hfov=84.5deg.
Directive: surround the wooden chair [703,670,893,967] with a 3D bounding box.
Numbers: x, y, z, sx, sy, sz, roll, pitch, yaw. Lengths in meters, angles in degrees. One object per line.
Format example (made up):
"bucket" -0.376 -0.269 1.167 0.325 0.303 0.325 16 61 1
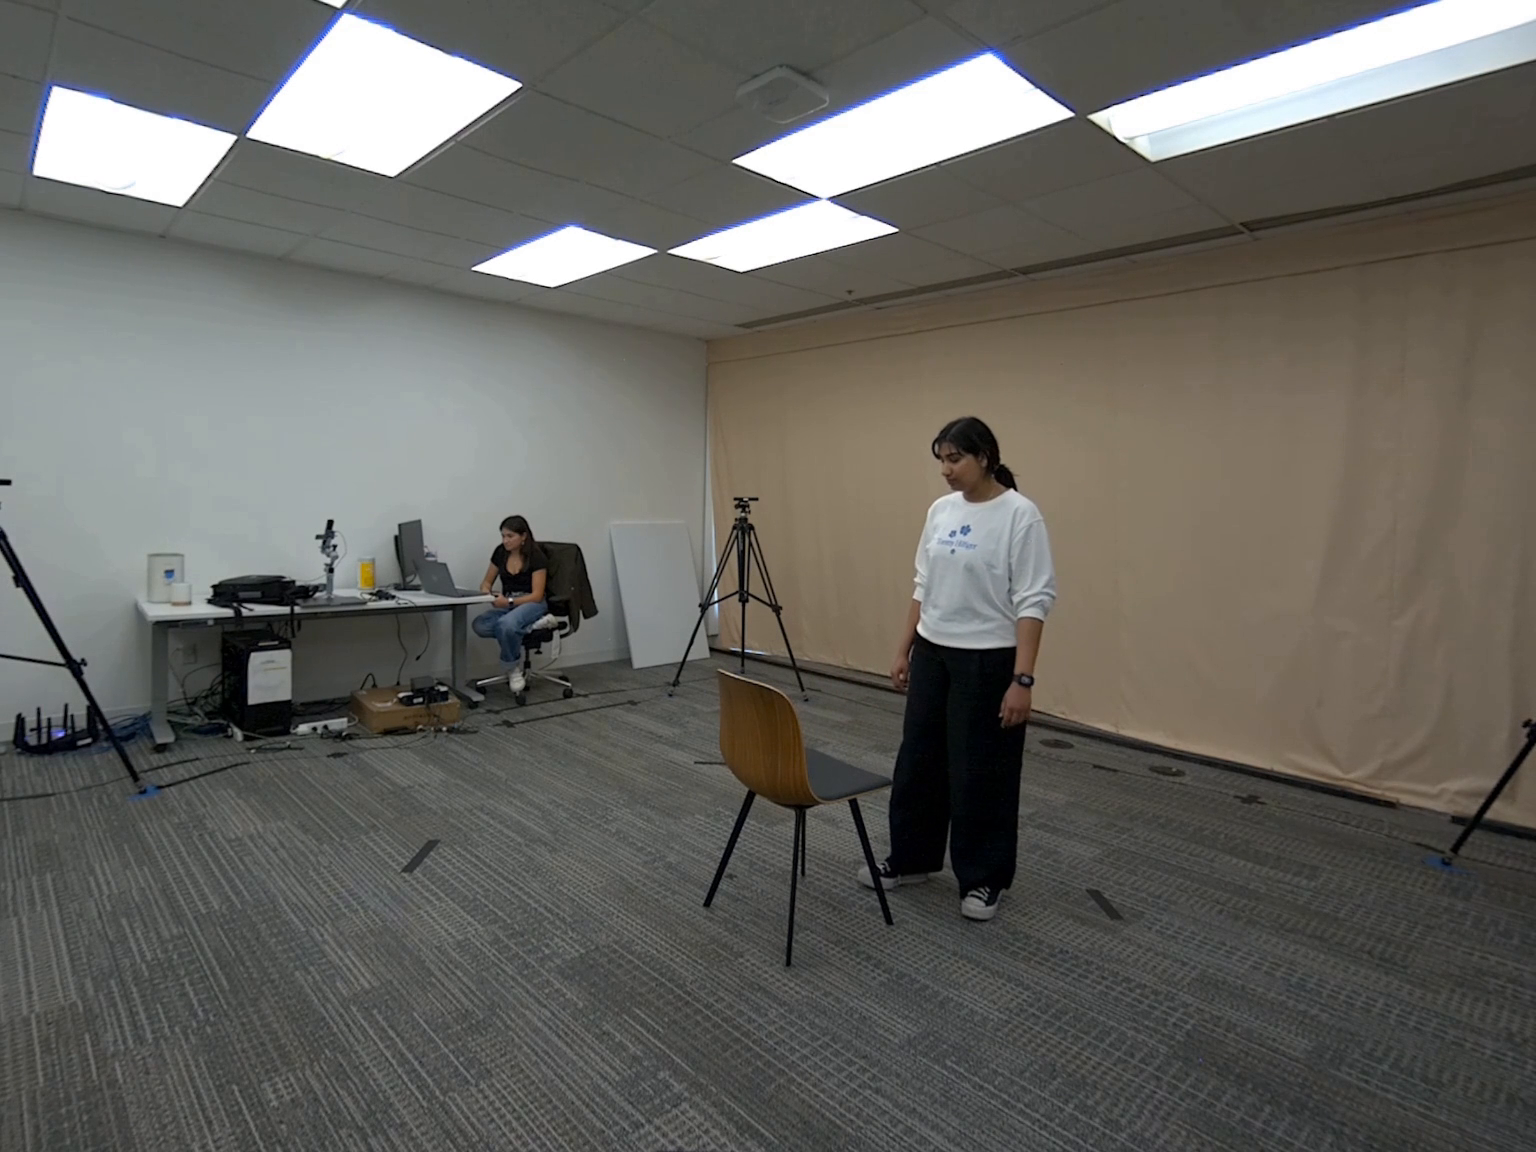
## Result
"wooden chair" 0.112 0.712 2.792 0.512 0.873 0.490 -6 7 -38
